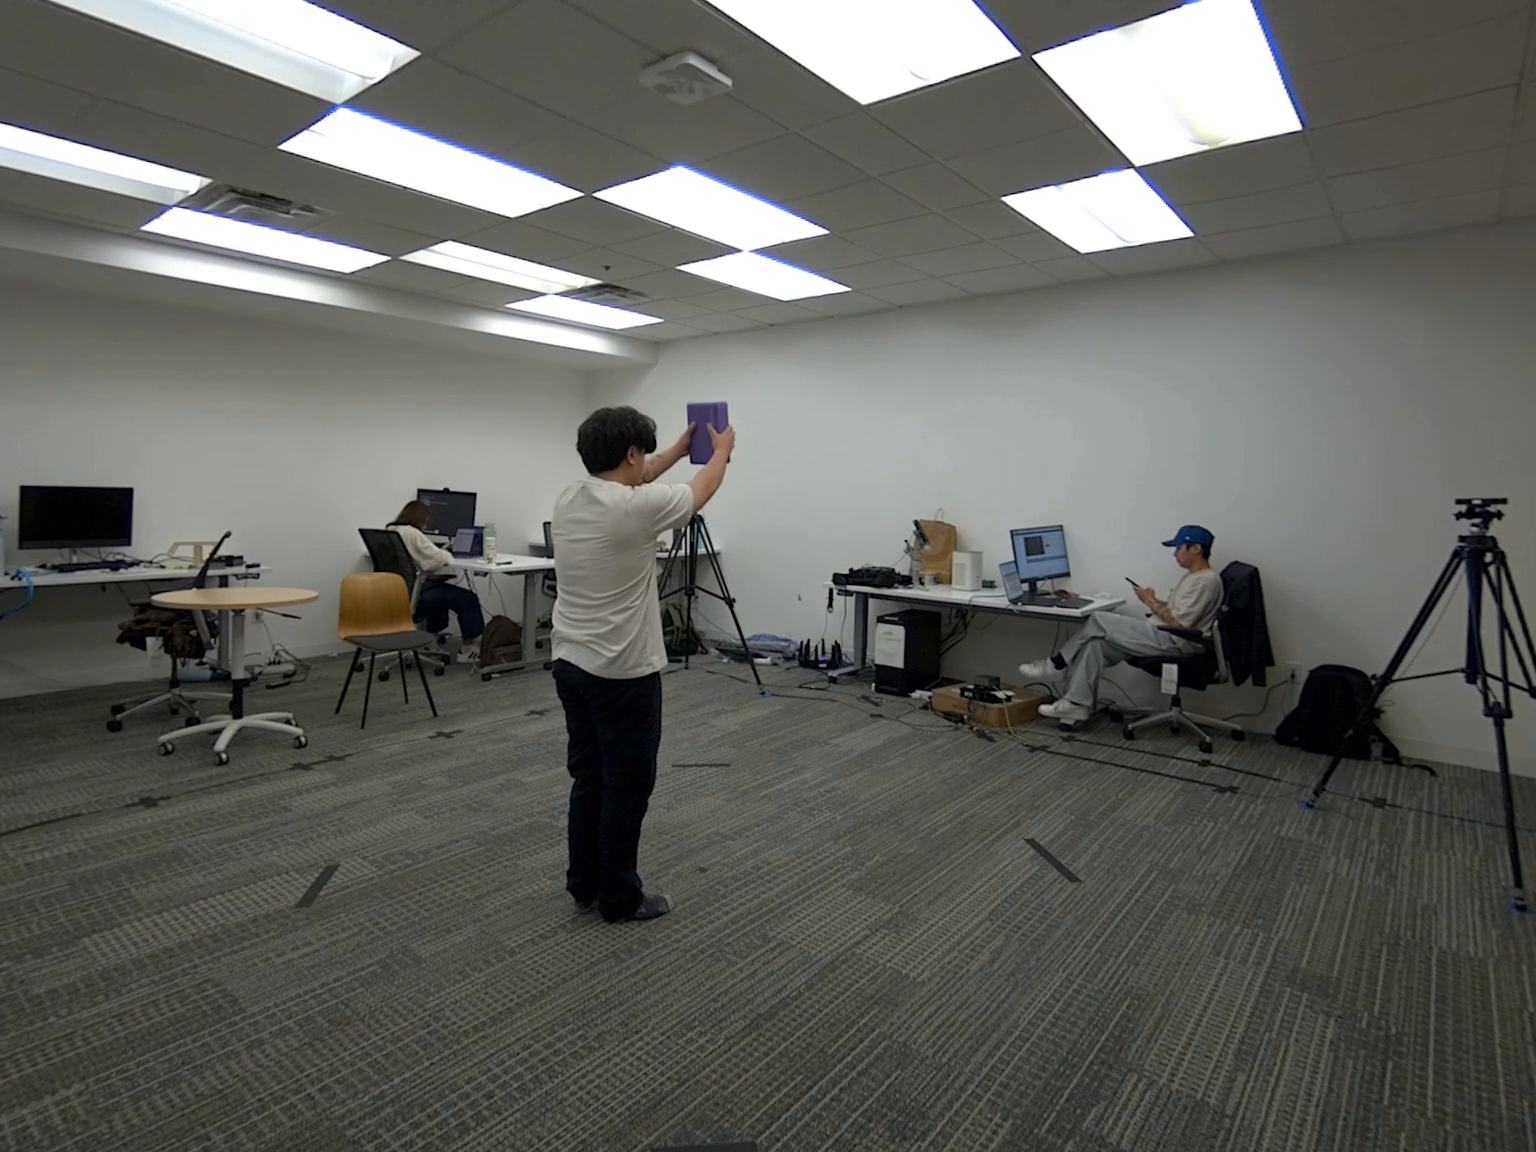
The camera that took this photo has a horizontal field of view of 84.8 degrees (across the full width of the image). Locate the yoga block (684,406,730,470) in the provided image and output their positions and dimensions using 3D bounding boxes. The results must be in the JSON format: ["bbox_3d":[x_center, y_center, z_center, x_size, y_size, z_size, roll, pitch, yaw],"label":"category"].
[{"bbox_3d":[-0.229,-0.520,3.153,0.154,0.227,0.075,7,12,36],"label":"yoga block"}]
